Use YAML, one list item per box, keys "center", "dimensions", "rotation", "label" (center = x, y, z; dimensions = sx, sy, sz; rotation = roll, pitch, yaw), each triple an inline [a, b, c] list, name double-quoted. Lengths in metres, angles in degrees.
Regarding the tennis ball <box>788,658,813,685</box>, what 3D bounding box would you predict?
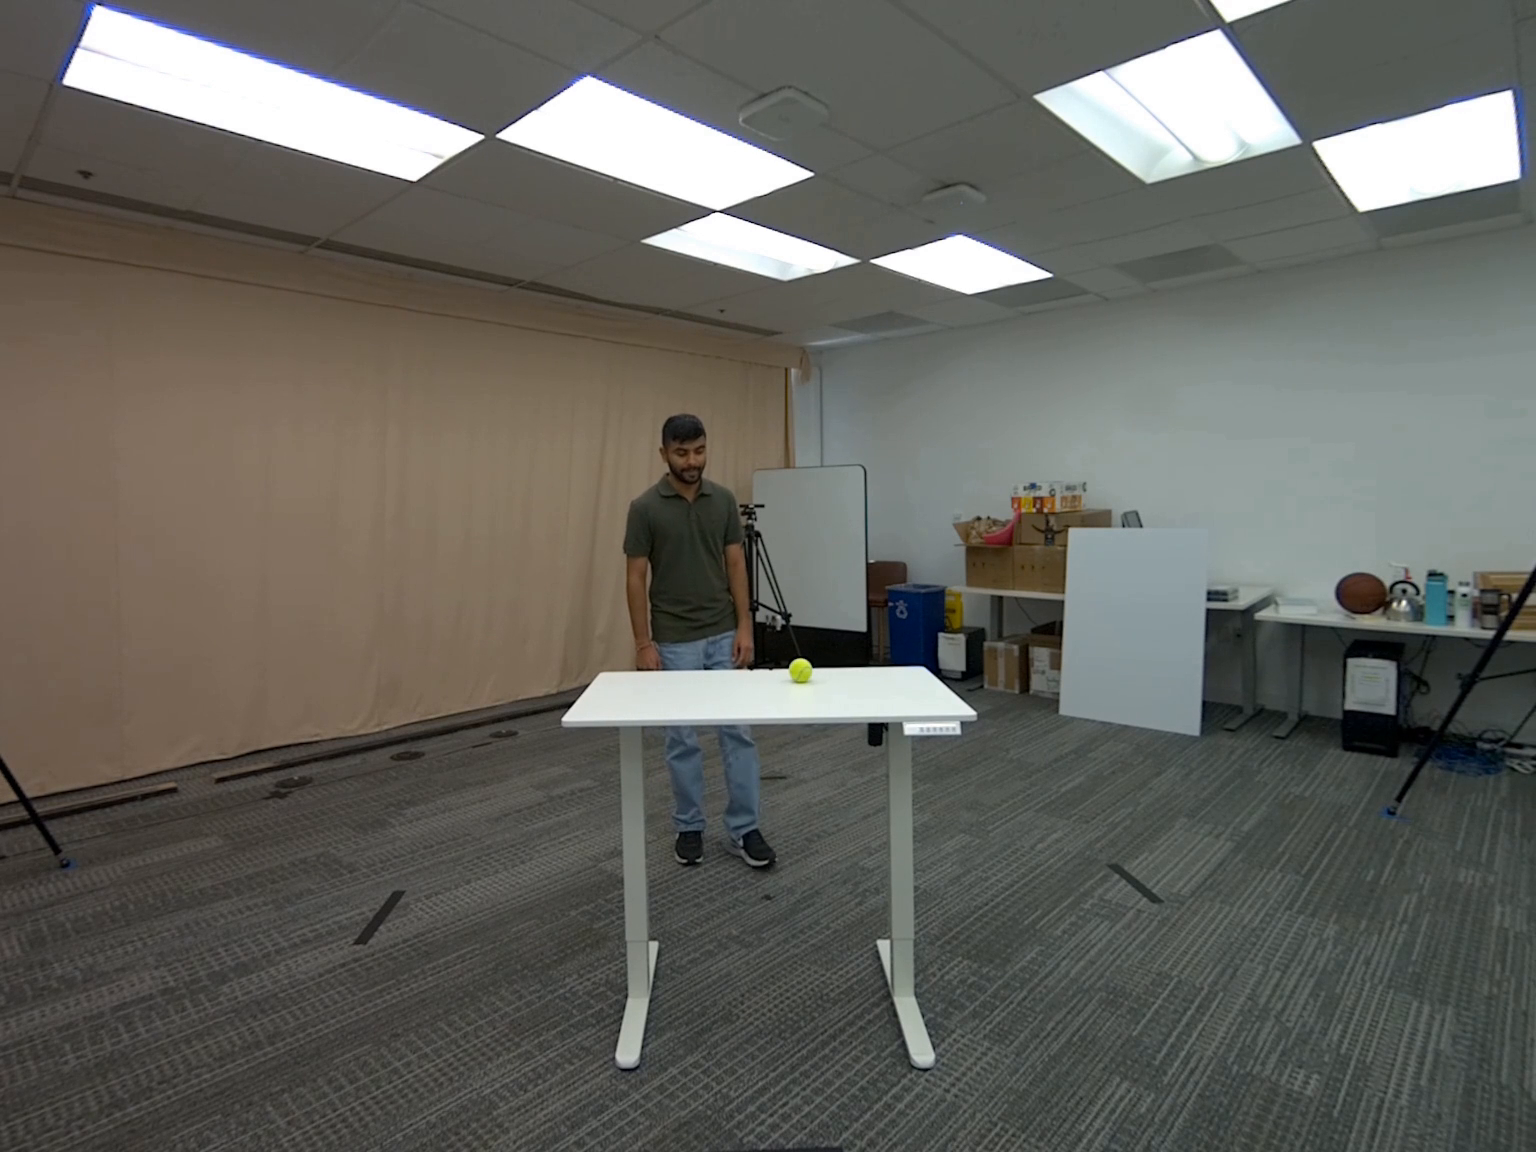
- center: [0.103, 0.269, 2.417]
  dimensions: [0.066, 0.066, 0.067]
  rotation: [-1, 4, -2]
  label: "tennis ball"
